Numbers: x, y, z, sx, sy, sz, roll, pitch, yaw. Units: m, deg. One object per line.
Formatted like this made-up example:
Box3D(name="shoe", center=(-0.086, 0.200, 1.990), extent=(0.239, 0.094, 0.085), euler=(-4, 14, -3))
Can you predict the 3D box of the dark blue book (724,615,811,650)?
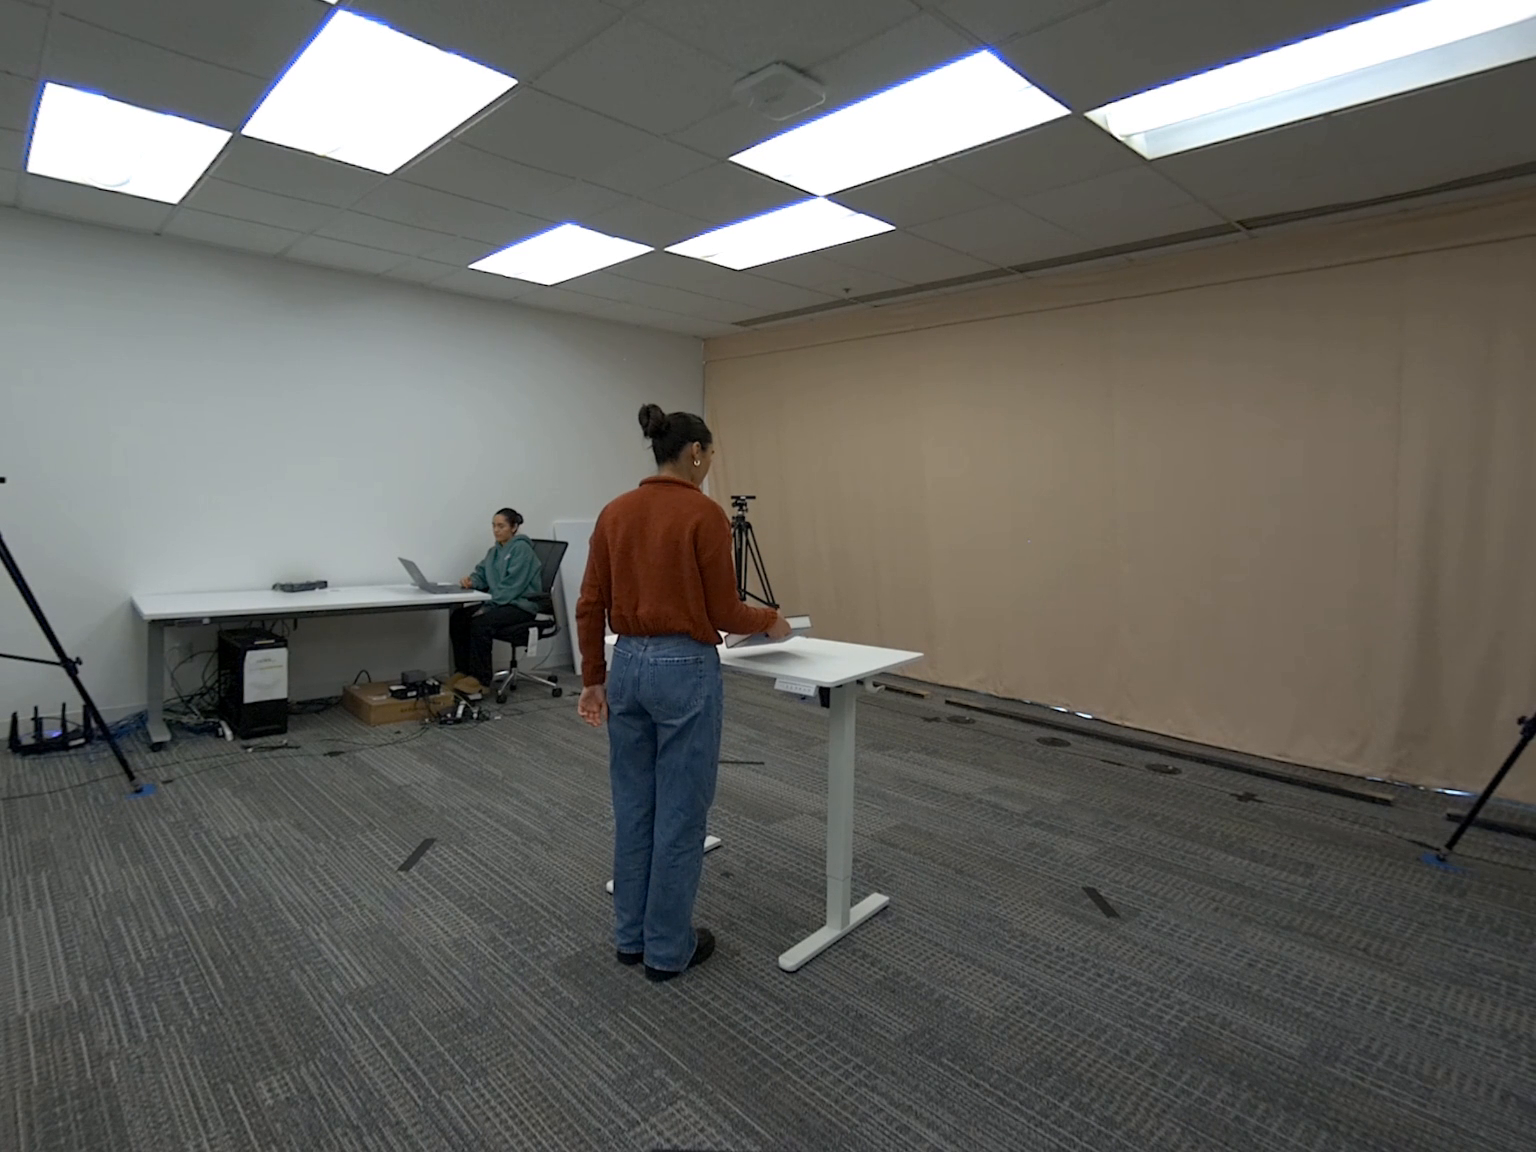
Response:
Box3D(name="dark blue book", center=(-0.002, 0.184, 2.720), extent=(0.240, 0.046, 0.164), euler=(-4, -20, -33))
